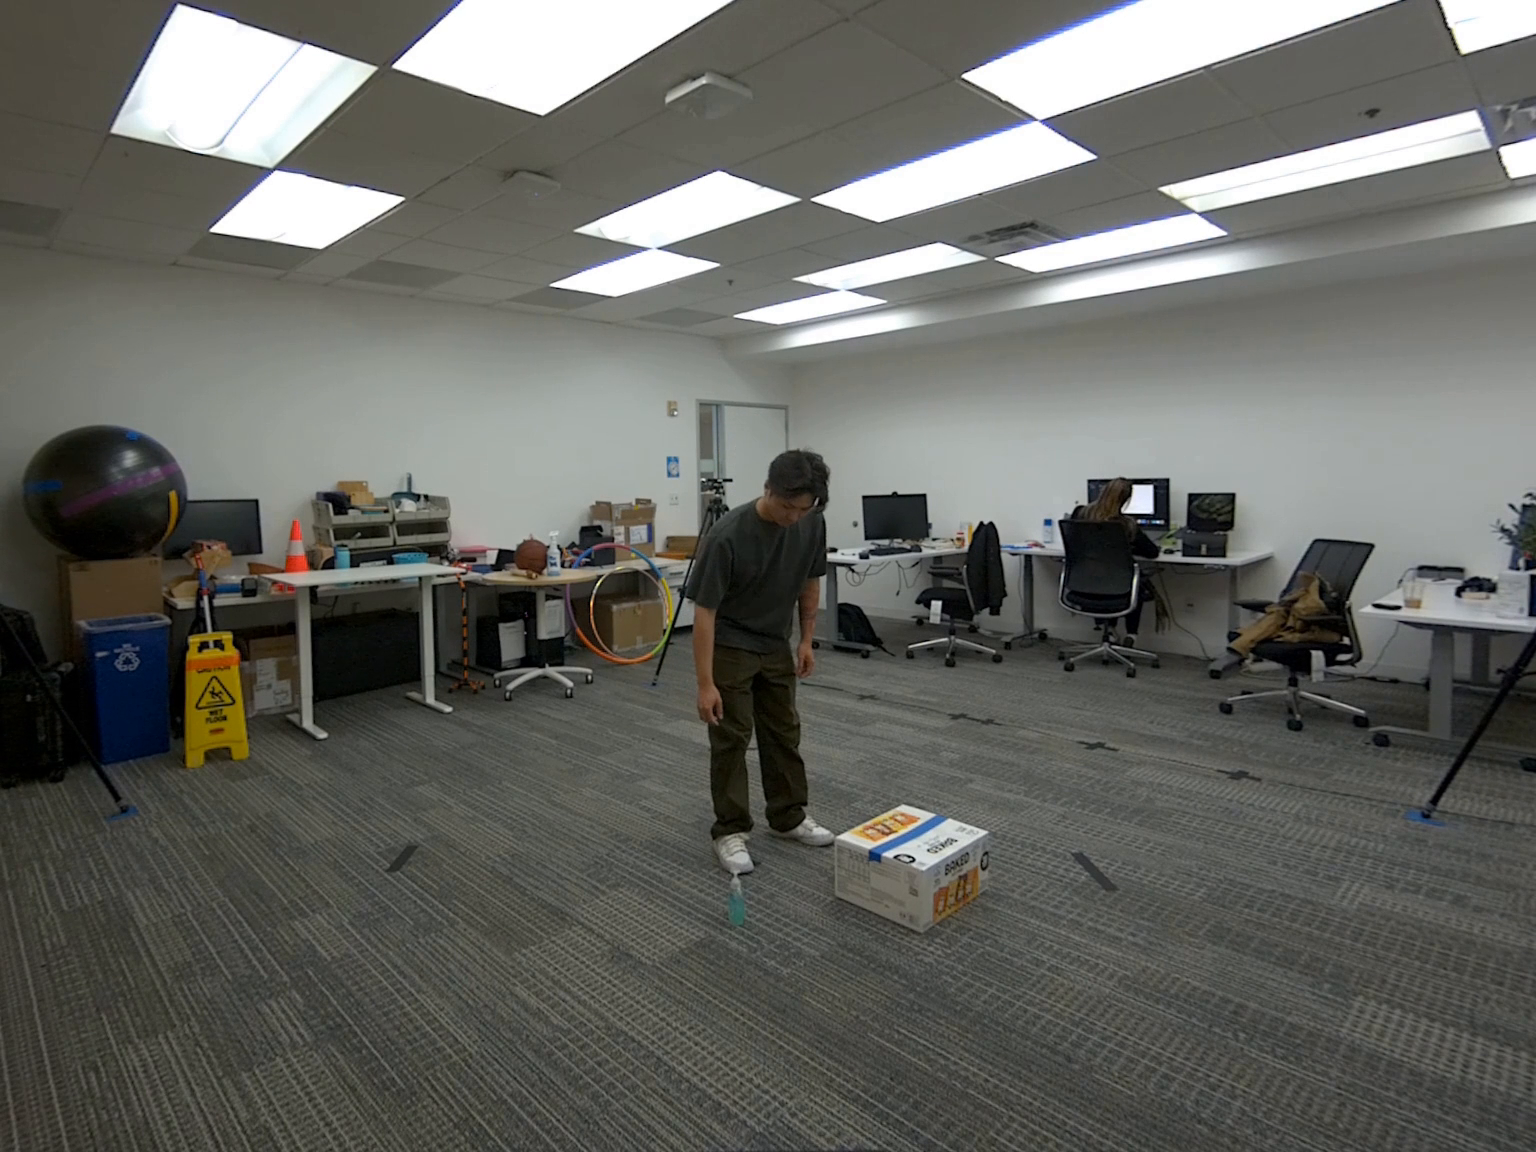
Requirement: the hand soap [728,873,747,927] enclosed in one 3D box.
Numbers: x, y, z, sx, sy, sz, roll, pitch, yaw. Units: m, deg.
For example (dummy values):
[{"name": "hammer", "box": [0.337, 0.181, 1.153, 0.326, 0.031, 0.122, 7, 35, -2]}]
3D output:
[{"name": "hand soap", "box": [-0.104, 1.018, 2.702, 0.042, 0.167, 0.087, -7, 9, -24]}]
